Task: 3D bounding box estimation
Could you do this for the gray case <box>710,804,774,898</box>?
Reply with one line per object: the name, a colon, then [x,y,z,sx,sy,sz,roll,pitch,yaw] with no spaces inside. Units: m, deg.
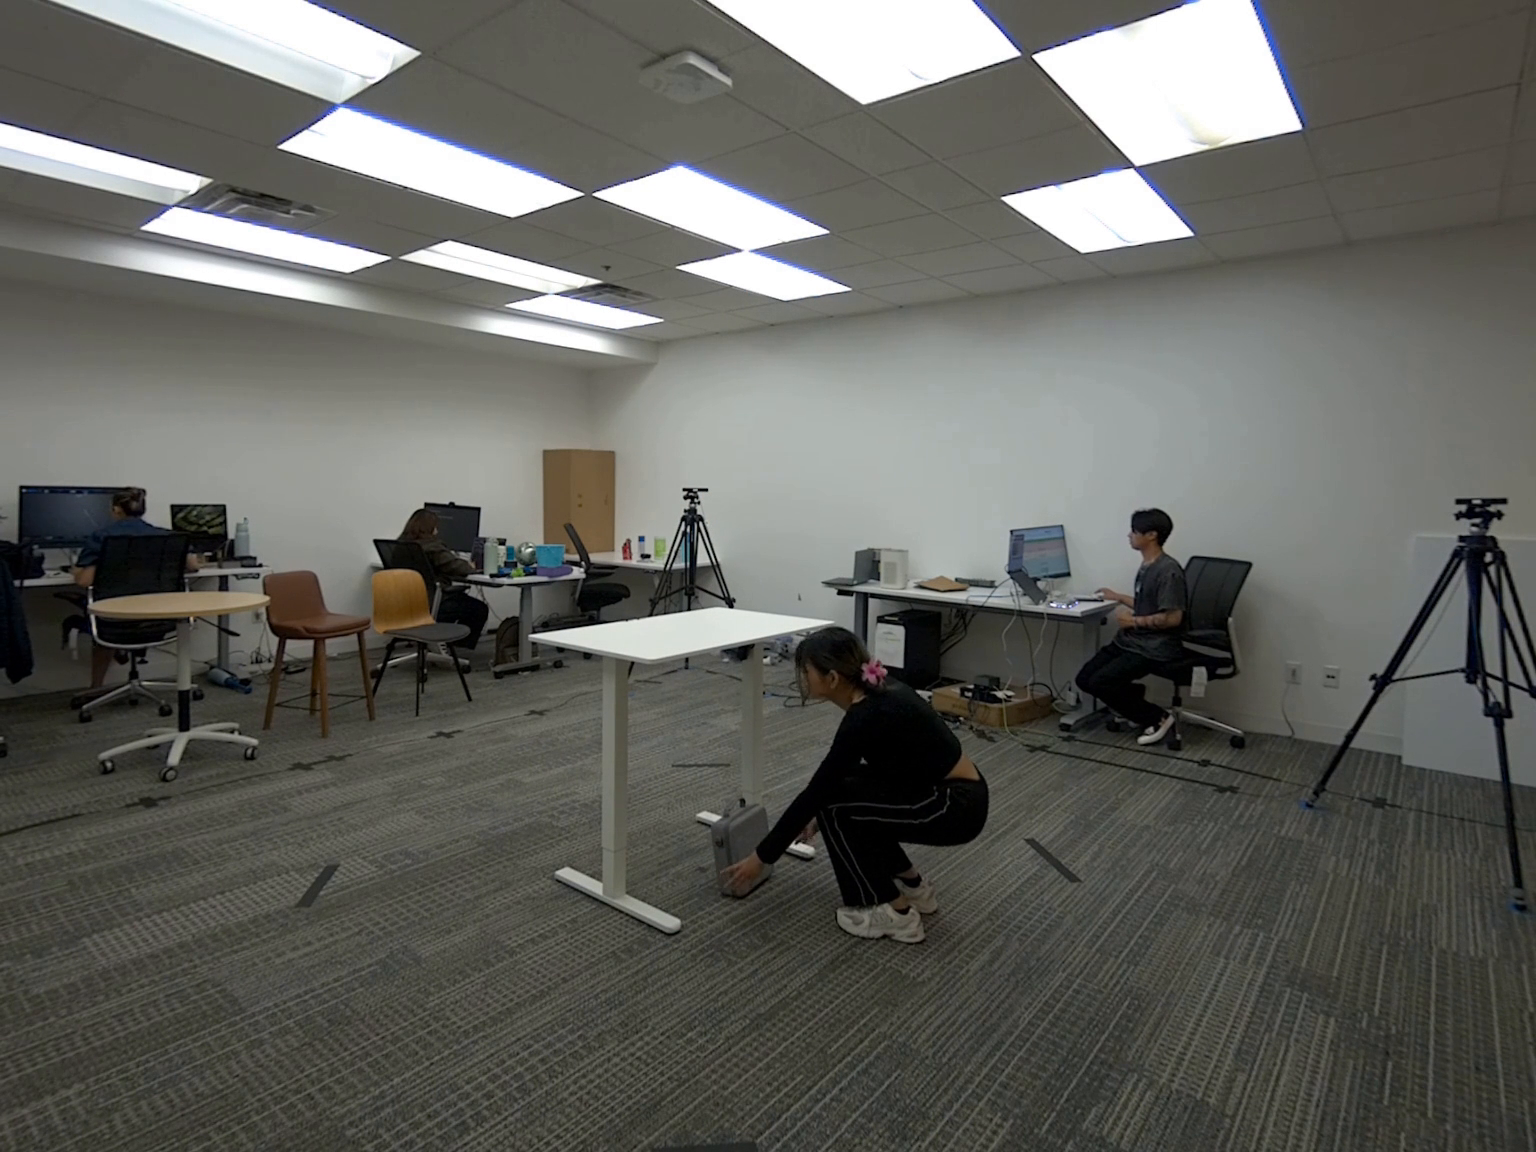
gray case: [-0.107,0.955,3.009,0.106,0.262,0.250,-15,-3,35]
